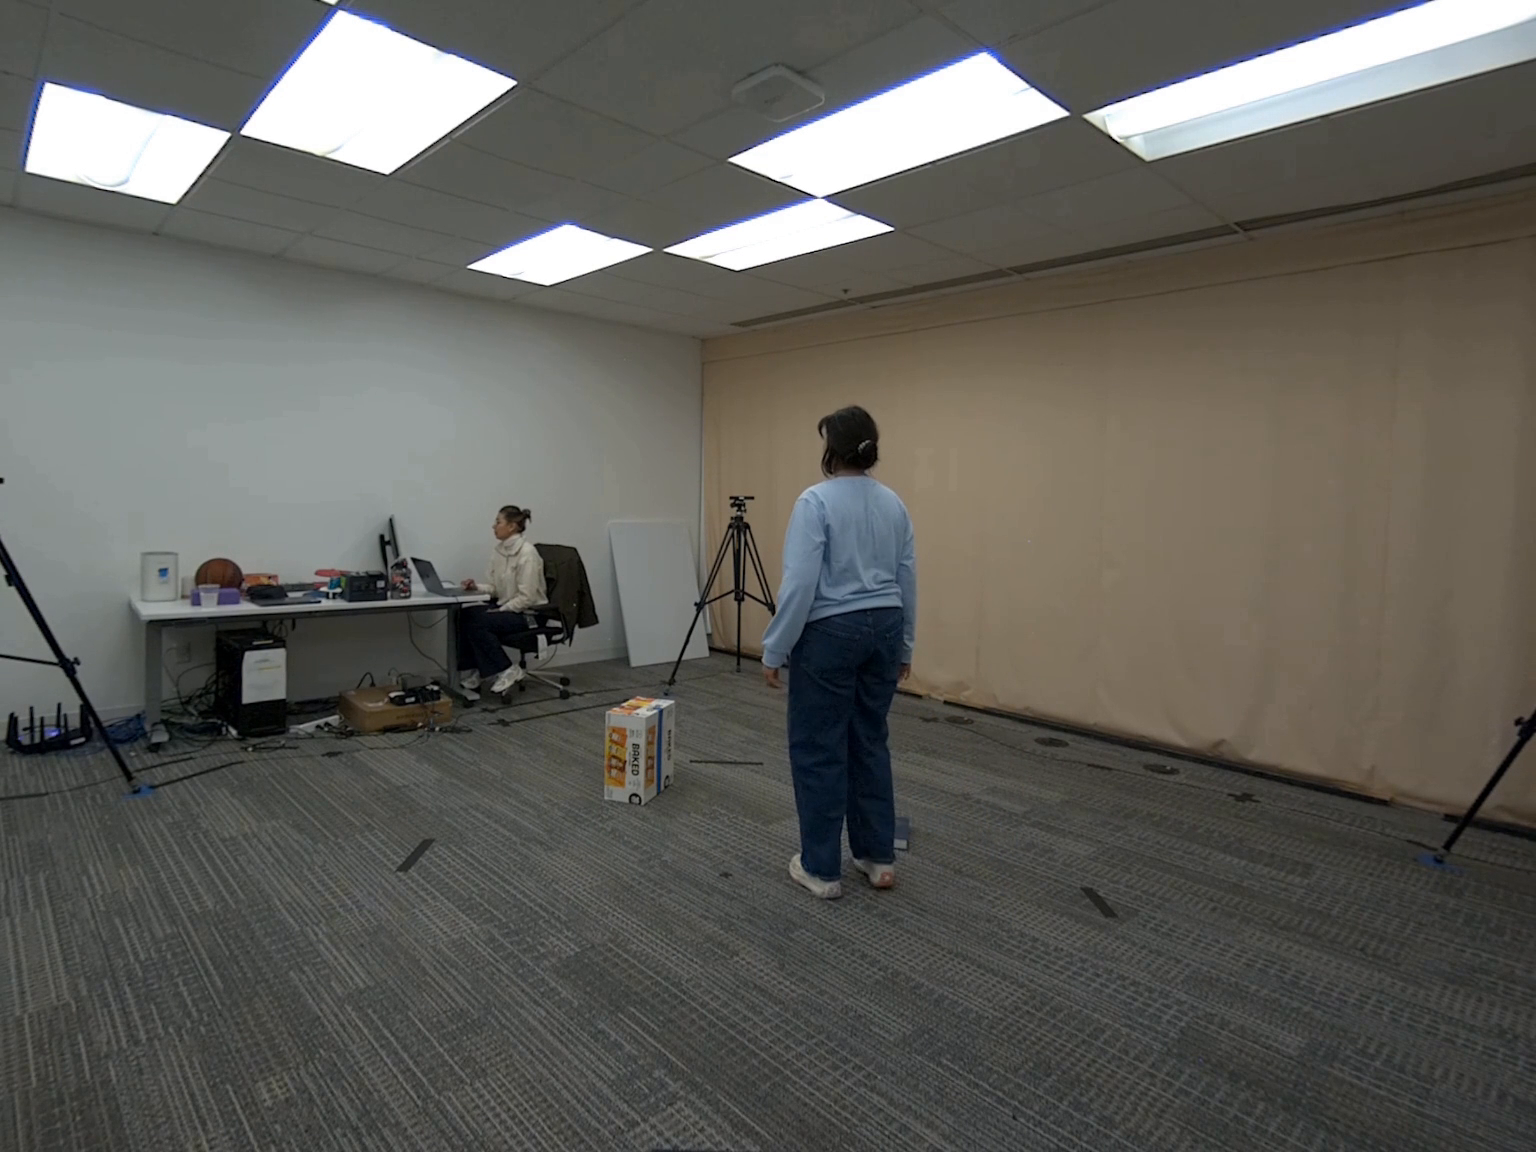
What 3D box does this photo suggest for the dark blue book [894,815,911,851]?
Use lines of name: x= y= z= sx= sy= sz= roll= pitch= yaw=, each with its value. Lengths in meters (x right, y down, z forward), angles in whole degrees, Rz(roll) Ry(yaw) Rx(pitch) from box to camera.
dark blue book: x=0.497 y=1.062 z=3.507 sx=0.165 sy=0.045 sz=0.243 roll=2 pitch=5 yaw=12
